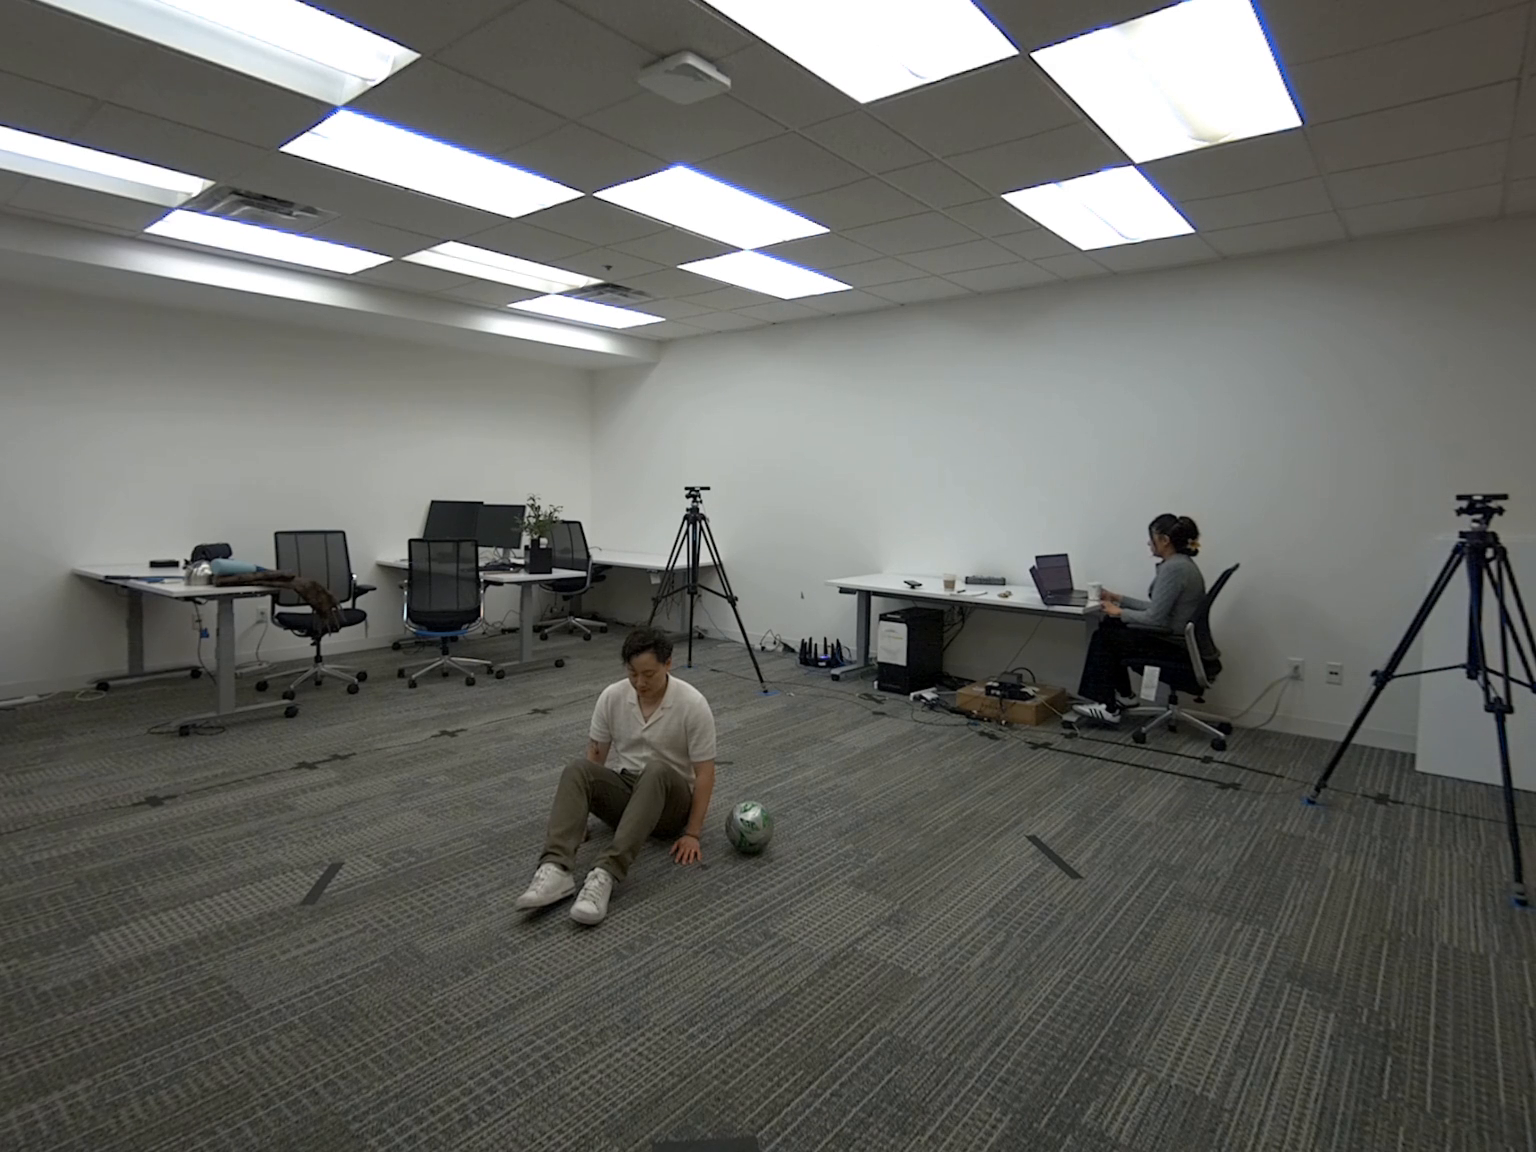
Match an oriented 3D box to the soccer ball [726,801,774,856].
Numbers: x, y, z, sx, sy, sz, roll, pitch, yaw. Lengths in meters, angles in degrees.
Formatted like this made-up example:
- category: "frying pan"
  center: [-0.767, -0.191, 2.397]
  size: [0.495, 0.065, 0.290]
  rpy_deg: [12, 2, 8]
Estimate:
- category: "soccer ball"
  center: [-0.079, 0.959, 3.257]
  size: [0.187, 0.187, 0.188]
  rpy_deg: [1, 4, -2]
